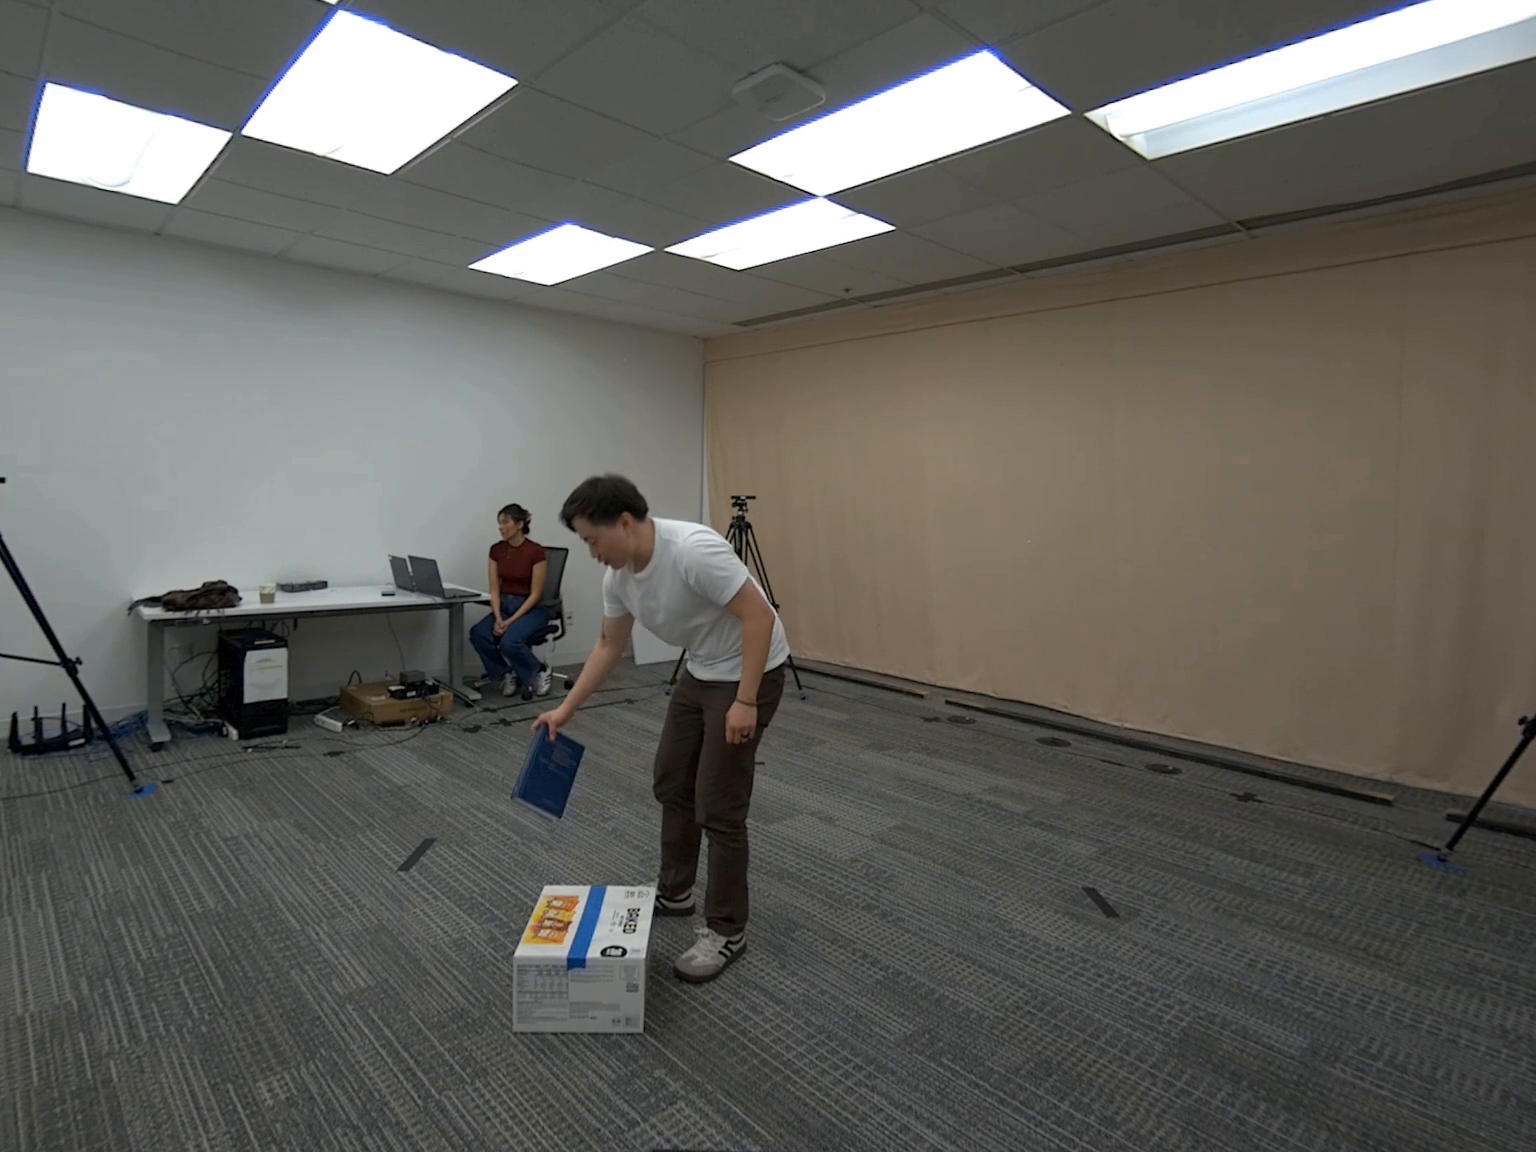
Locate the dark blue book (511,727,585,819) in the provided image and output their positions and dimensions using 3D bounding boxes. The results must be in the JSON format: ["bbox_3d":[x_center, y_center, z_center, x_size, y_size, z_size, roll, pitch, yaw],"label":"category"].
[{"bbox_3d":[-0.667,0.608,2.606,0.159,0.248,0.045,36,-42,-25],"label":"dark blue book"}]
